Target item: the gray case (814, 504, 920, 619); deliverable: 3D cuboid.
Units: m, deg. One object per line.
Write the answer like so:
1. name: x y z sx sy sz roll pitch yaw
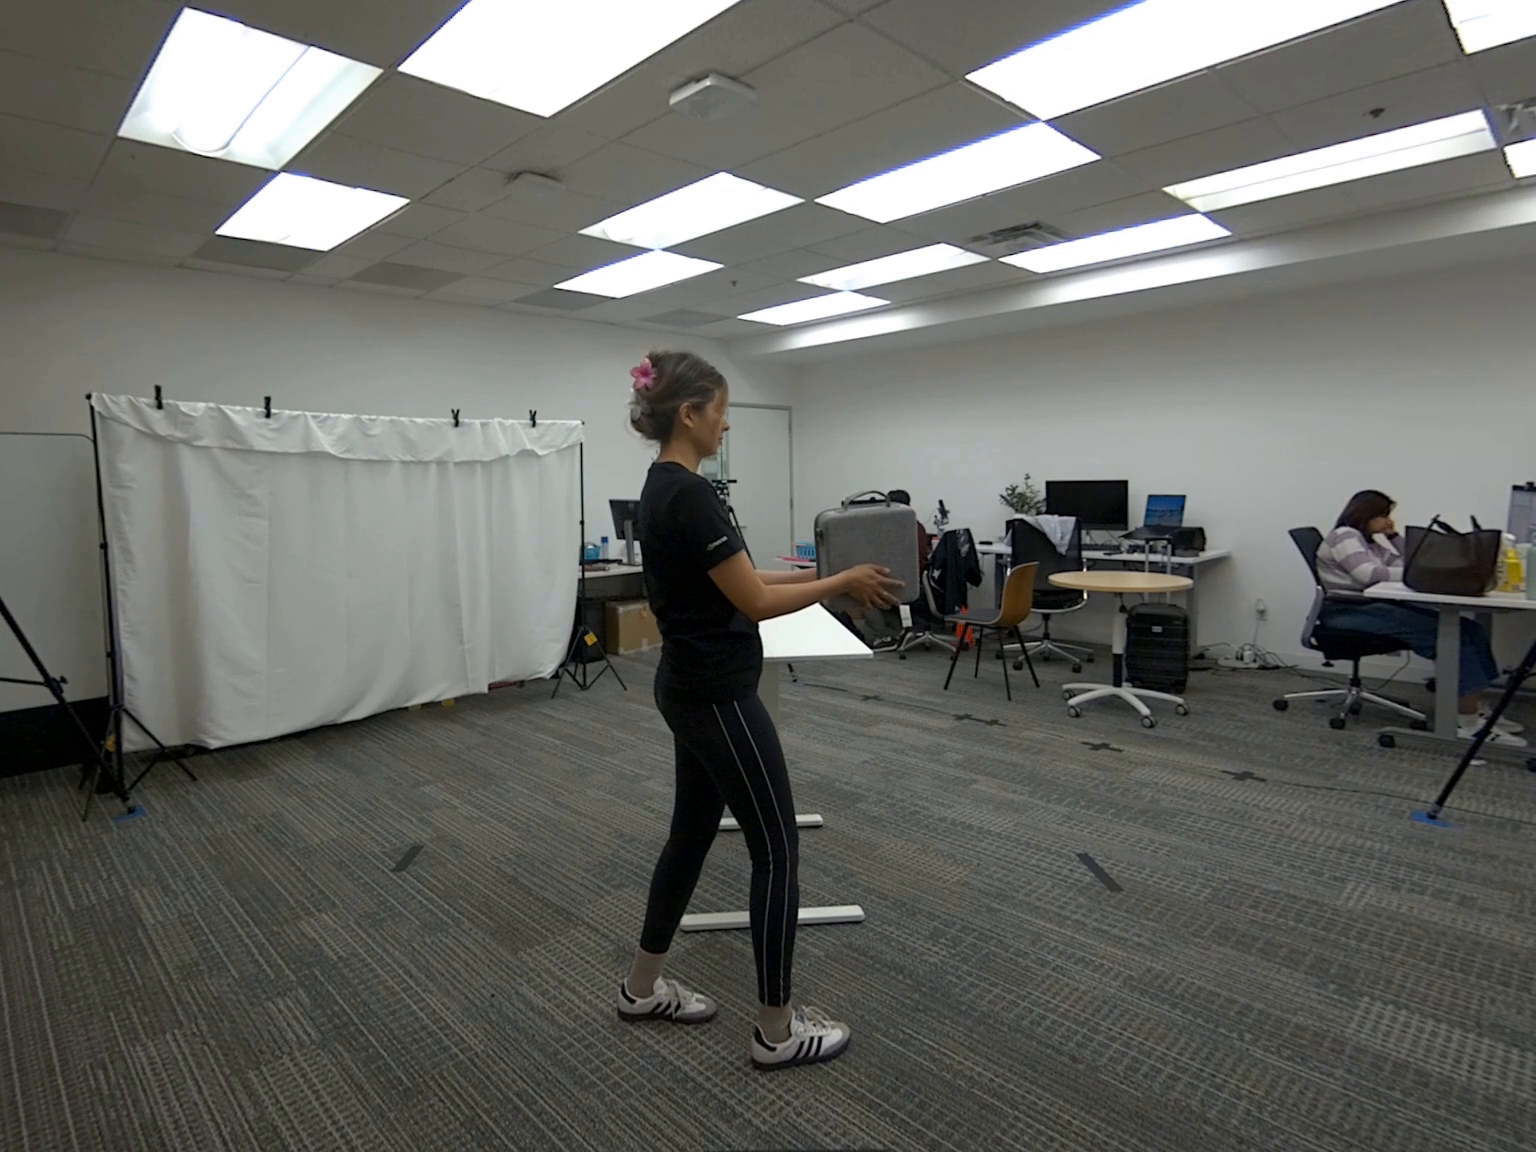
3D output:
1. gray case: 0.262 -0.056 2.166 0.254 0.259 0.106 -7 7 -12
